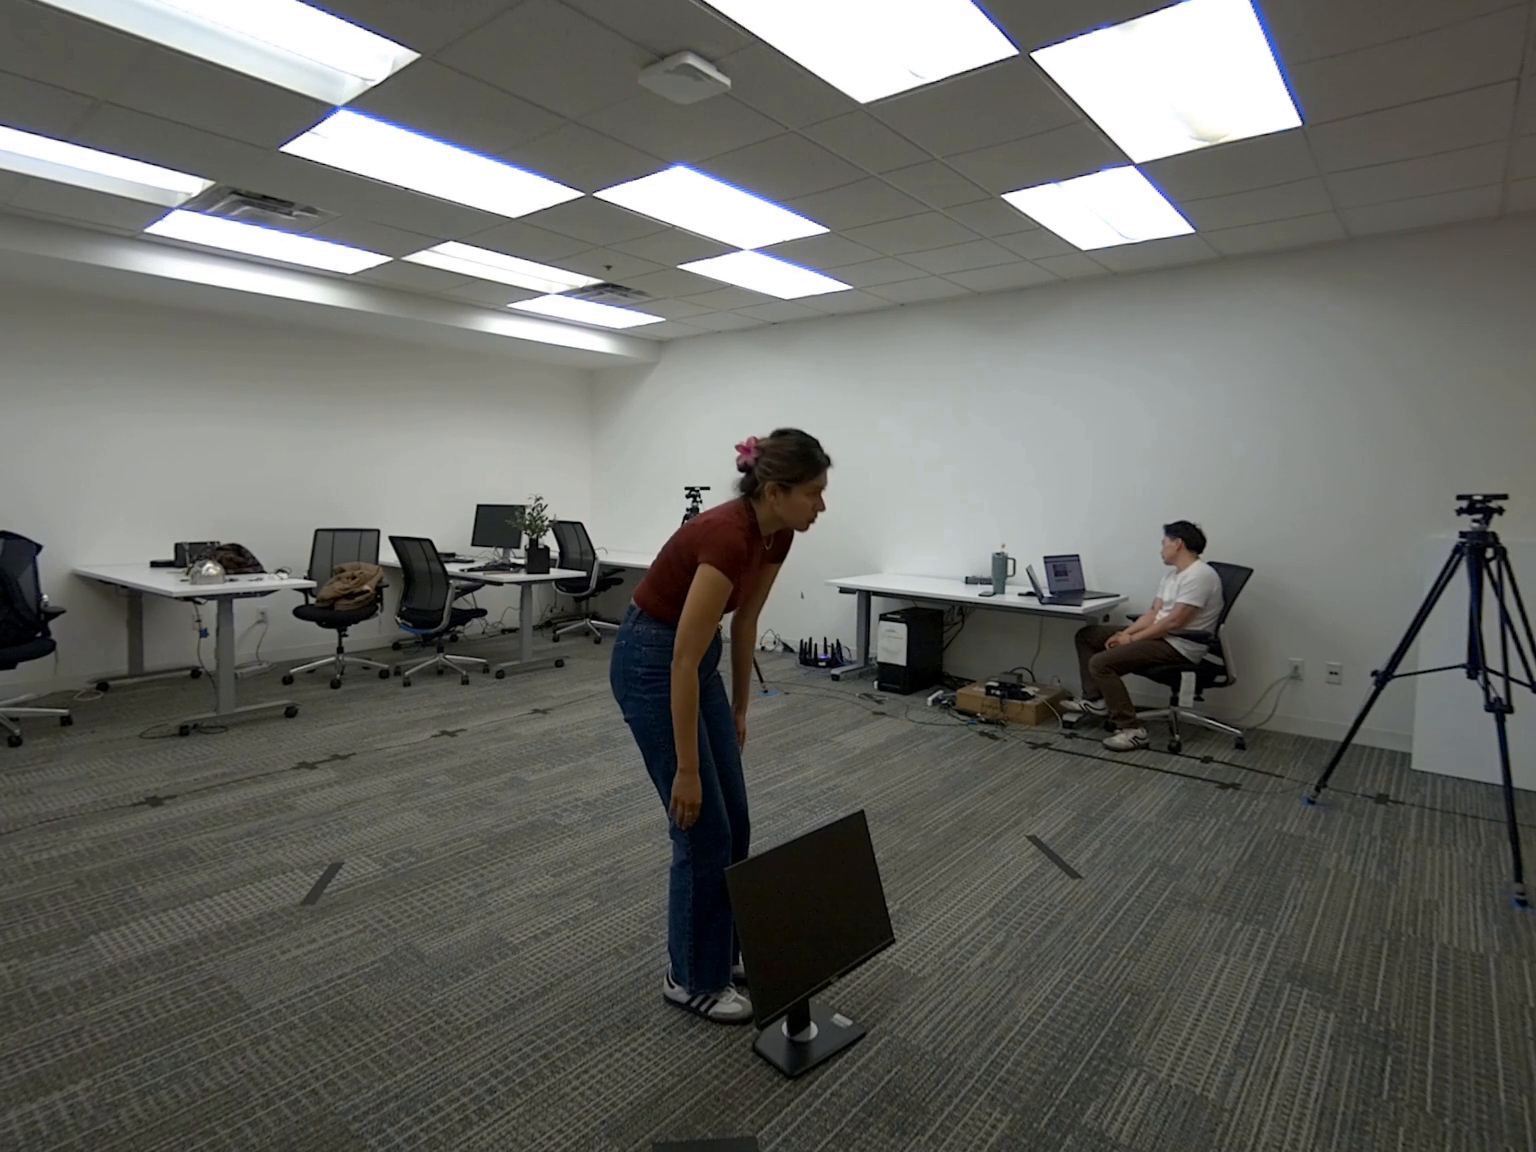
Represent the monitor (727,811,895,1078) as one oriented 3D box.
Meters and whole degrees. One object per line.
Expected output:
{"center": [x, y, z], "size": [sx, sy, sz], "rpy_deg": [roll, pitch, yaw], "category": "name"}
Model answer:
{"center": [0.094, 0.917, 2.139], "size": [0.193, 0.522, 0.523], "rpy_deg": [0, 3, 43], "category": "monitor"}
